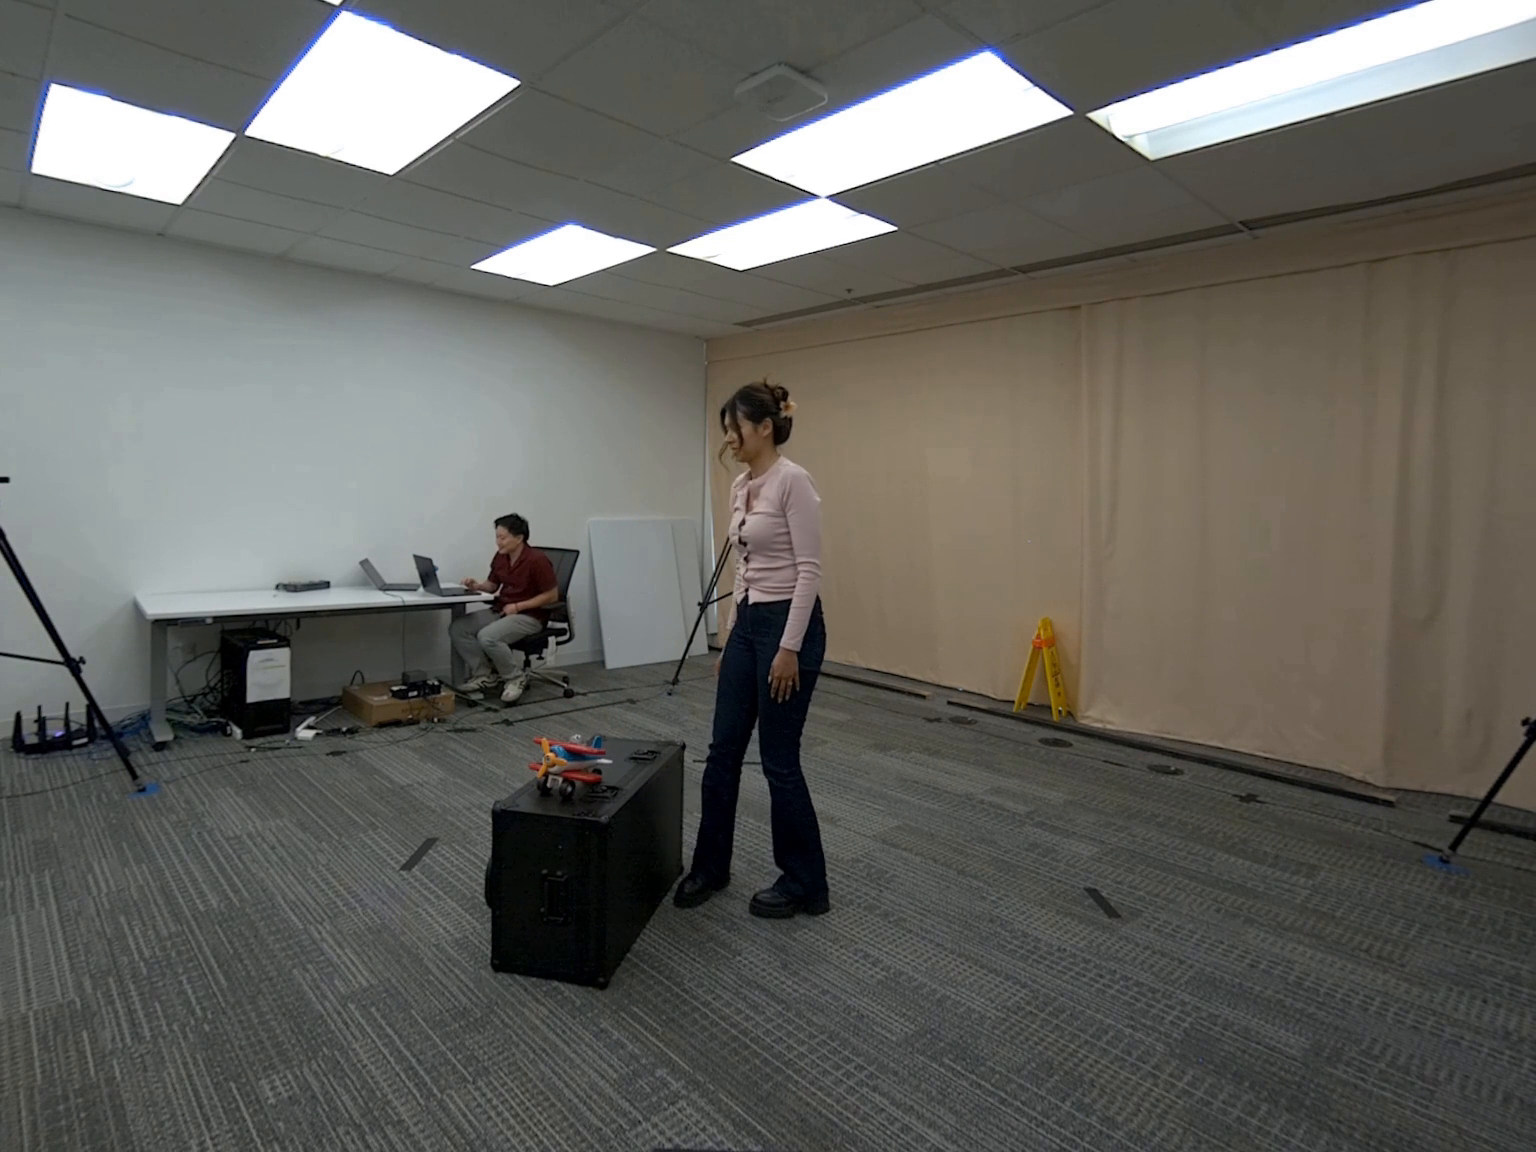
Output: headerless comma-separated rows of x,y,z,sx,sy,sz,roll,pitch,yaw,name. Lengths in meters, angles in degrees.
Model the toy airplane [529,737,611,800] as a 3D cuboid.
-0.626,0.578,2.612,0.250,0.156,0.261,1,6,-3,toy airplane
